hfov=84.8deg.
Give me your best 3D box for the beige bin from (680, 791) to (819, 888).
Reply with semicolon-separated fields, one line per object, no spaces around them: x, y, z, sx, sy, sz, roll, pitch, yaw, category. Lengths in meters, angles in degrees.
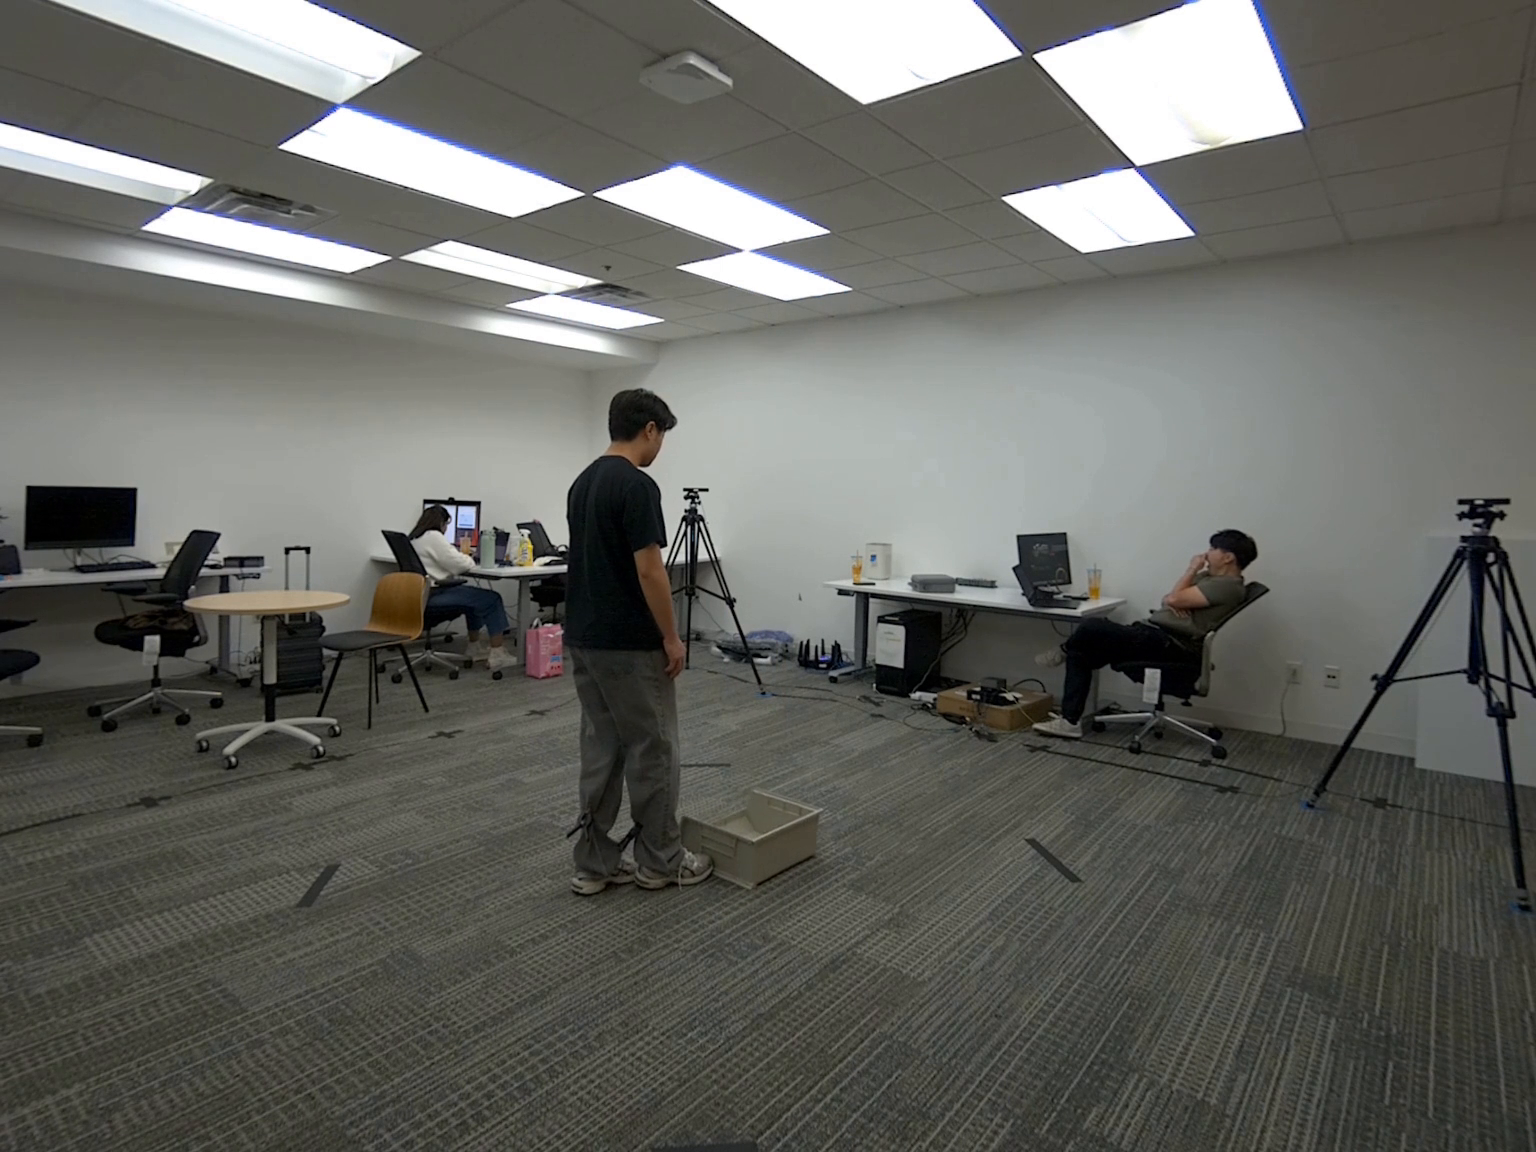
-0.078;0.973;3.211;0.390;0.188;0.410;6;7;39;beige bin
